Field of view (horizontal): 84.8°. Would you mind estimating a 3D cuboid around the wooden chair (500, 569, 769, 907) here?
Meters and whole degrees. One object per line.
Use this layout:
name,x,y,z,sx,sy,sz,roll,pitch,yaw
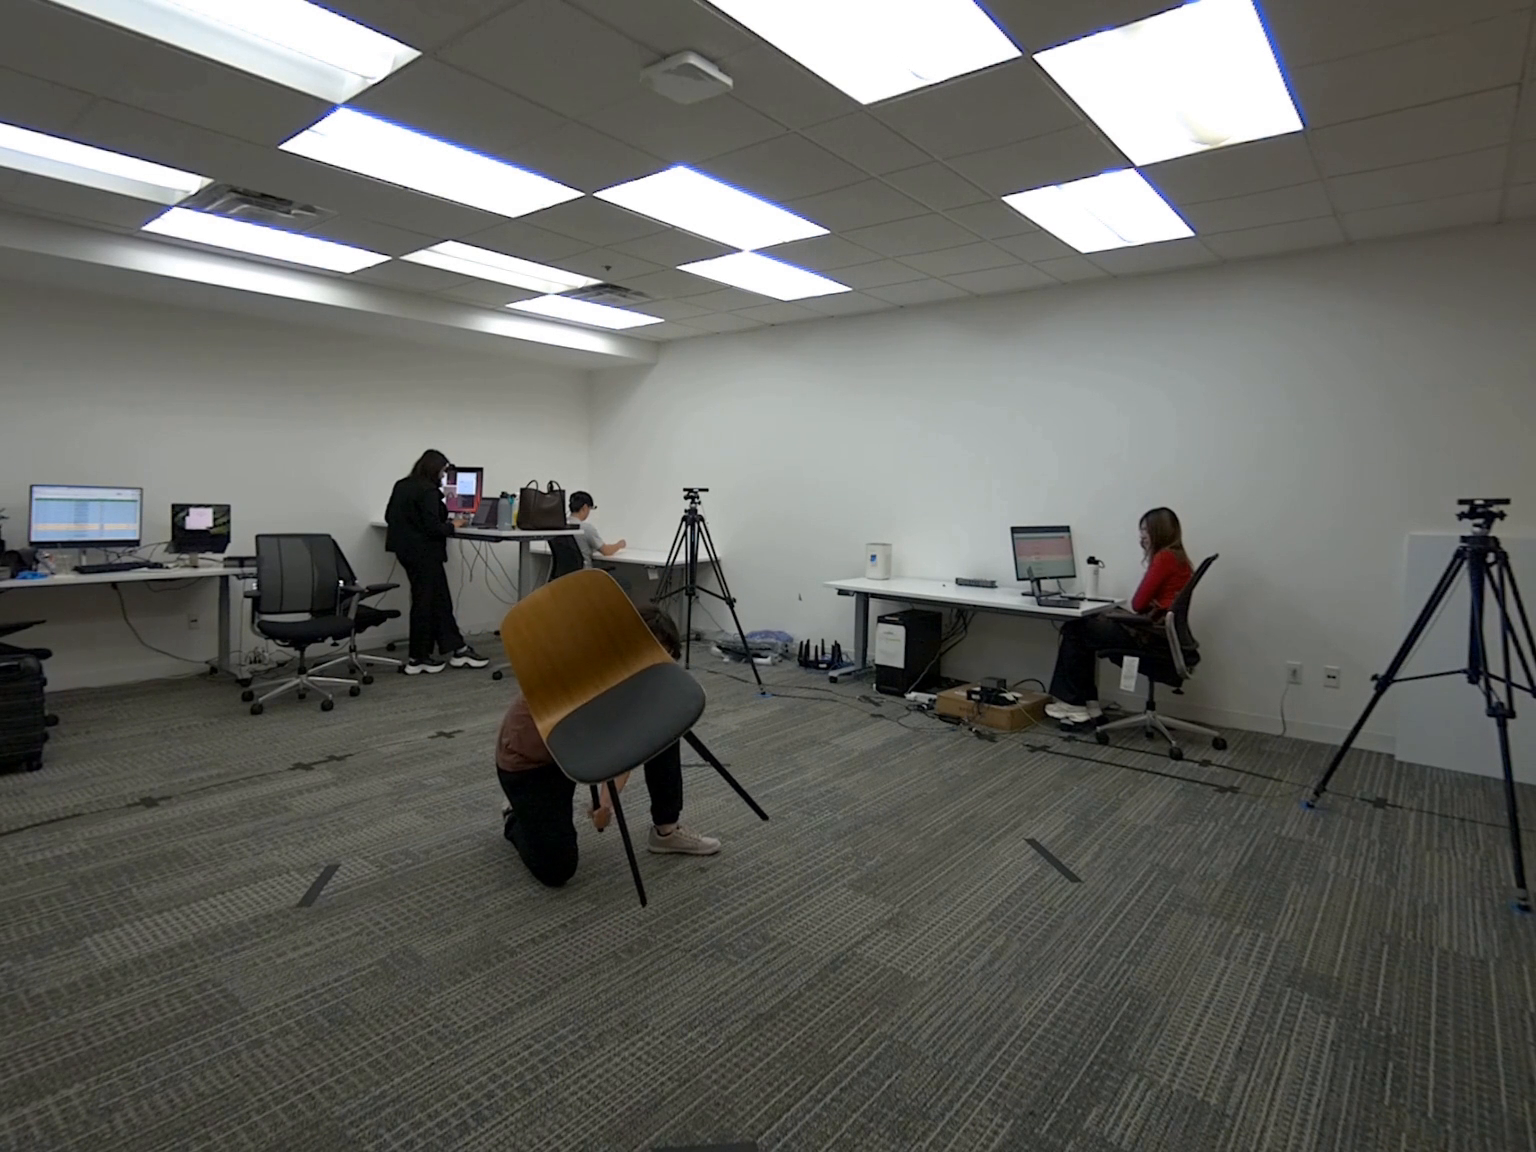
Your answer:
wooden chair,-0.444,0.447,2.585,0.474,0.858,0.539,-30,19,-17
